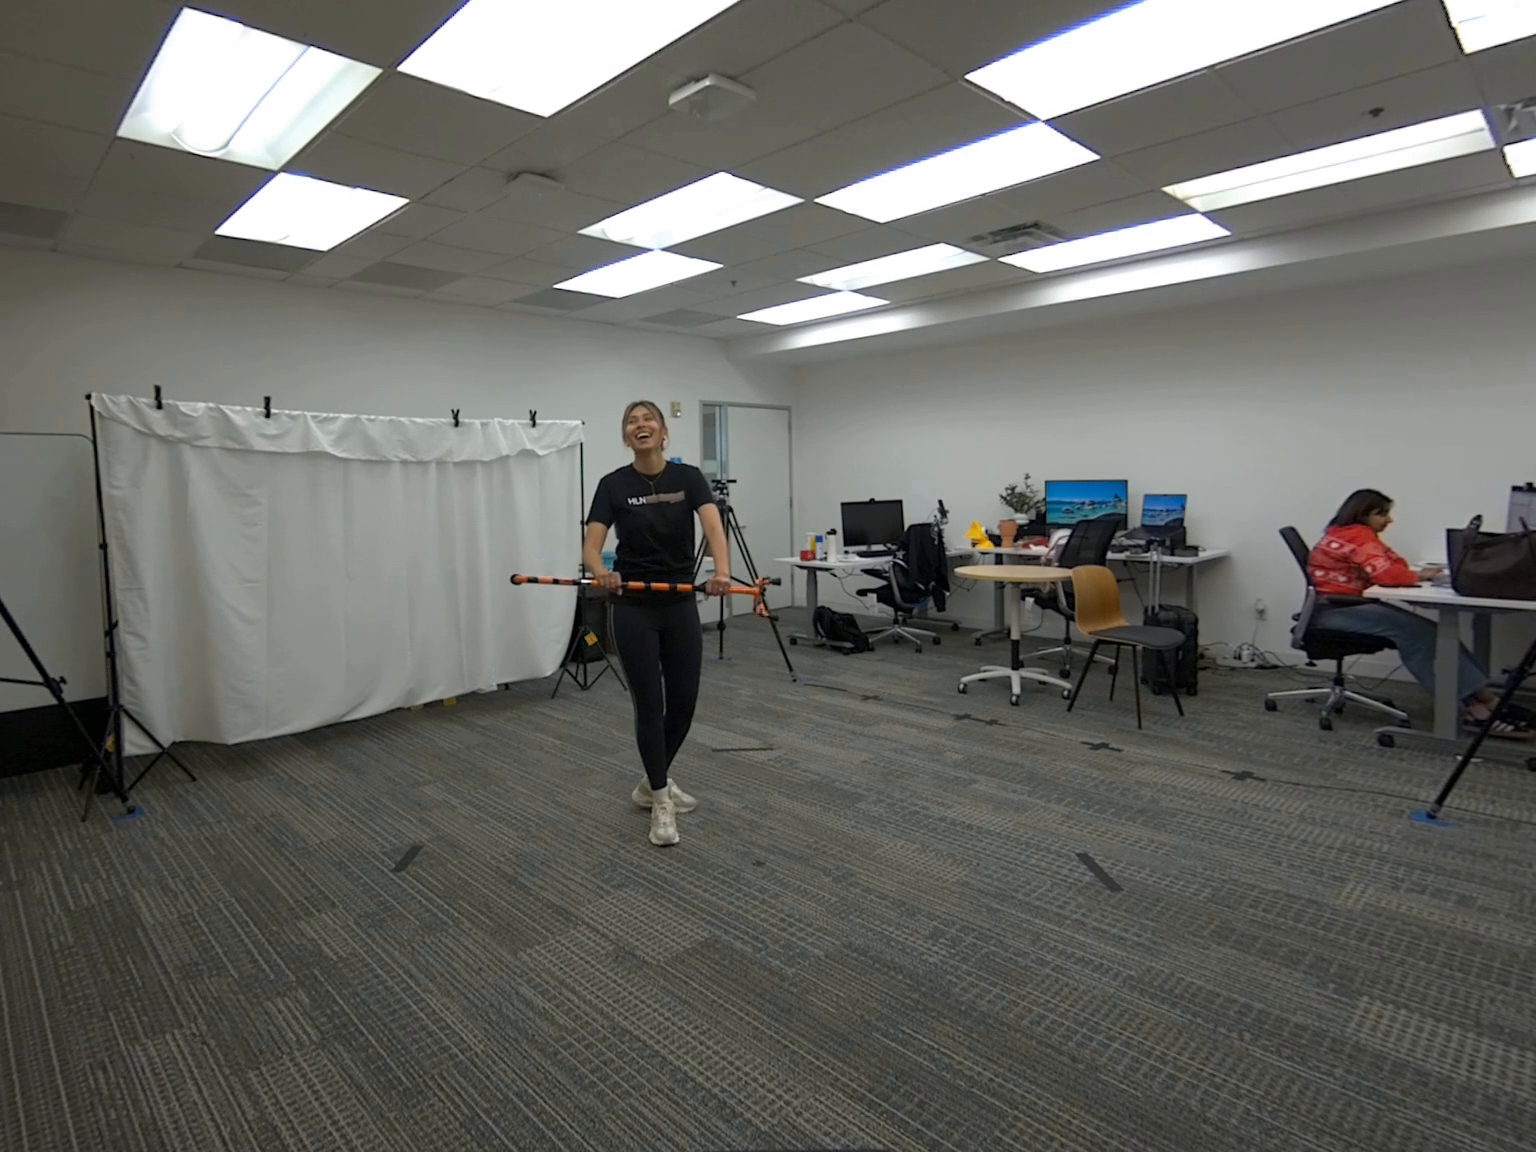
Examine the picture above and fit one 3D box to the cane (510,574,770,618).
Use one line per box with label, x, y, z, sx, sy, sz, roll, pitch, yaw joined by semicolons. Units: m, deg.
cane;-0.420;0.046;2.936;0.902;0.152;0.208;4;0;-6
